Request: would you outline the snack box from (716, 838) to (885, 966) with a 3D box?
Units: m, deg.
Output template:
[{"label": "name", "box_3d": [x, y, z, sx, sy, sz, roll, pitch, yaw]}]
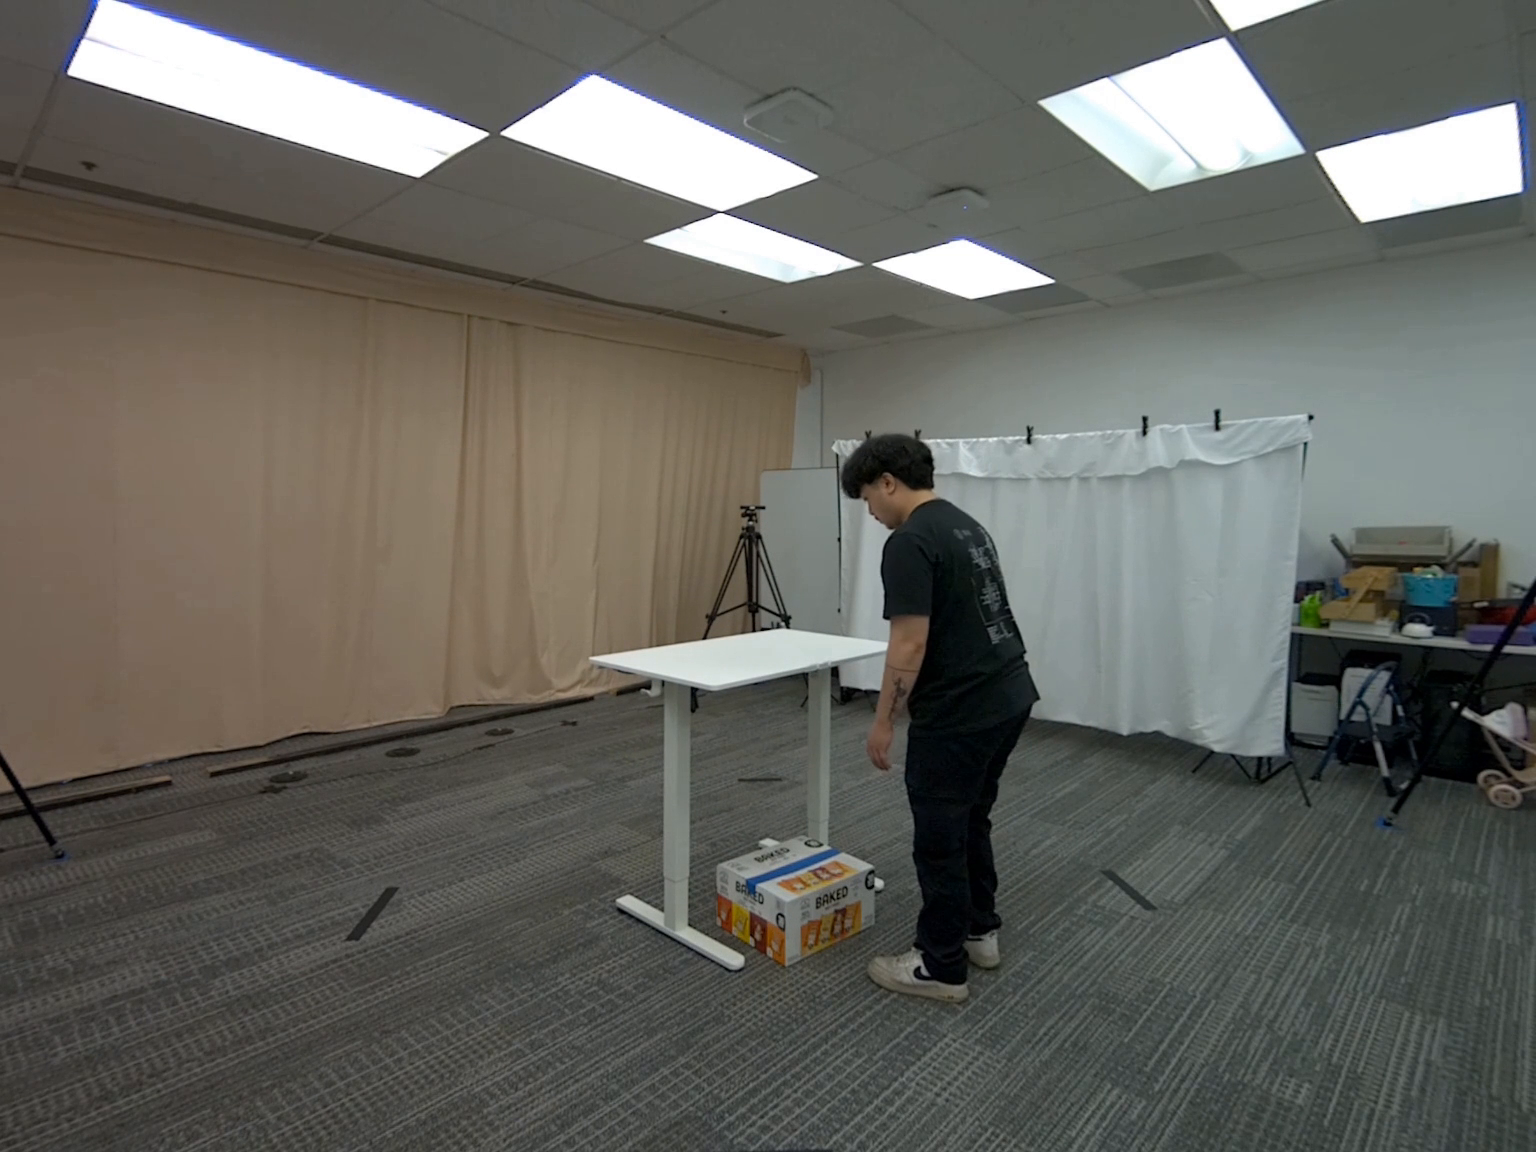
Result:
[{"label": "snack box", "box_3d": [0.093, 1.061, 2.786, 0.393, 0.205, 0.352, -4, 6, -41]}]
